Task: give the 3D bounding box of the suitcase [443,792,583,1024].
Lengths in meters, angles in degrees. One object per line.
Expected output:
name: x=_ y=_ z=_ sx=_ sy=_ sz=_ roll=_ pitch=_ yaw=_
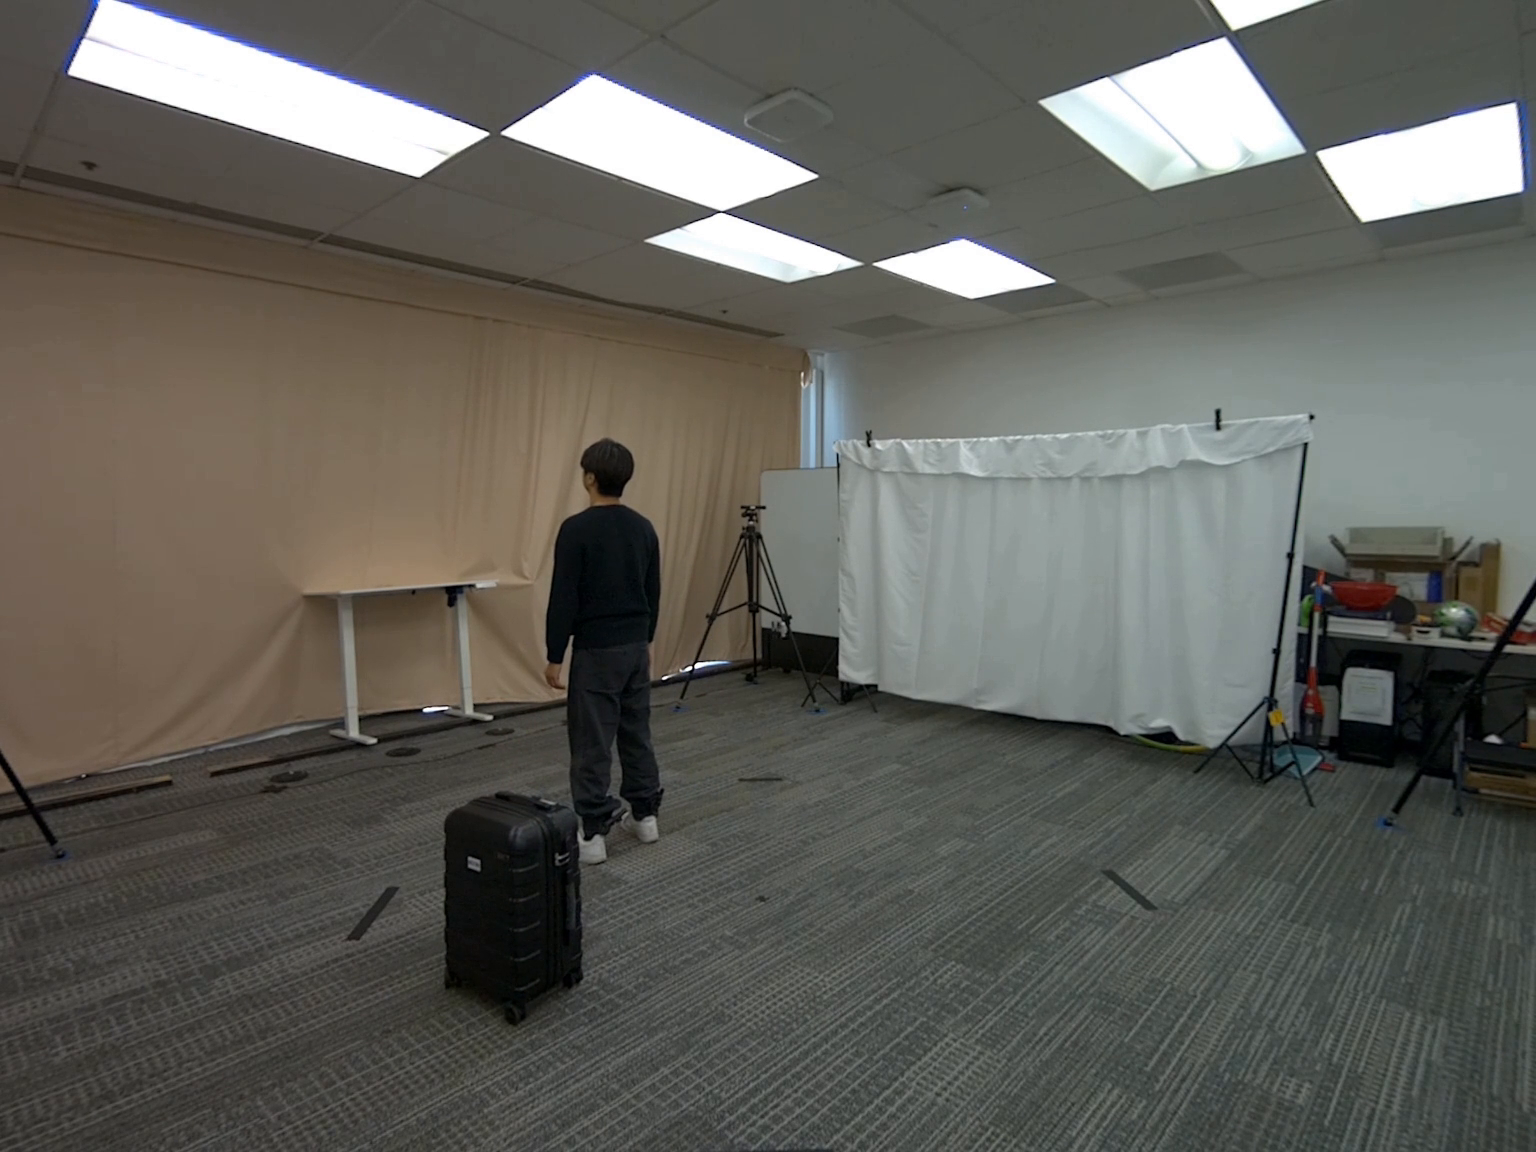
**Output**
suitcase: x=-0.731 y=0.927 z=2.414 sx=0.387 sy=0.547 sz=0.242 roll=4 pitch=7 yaw=33
